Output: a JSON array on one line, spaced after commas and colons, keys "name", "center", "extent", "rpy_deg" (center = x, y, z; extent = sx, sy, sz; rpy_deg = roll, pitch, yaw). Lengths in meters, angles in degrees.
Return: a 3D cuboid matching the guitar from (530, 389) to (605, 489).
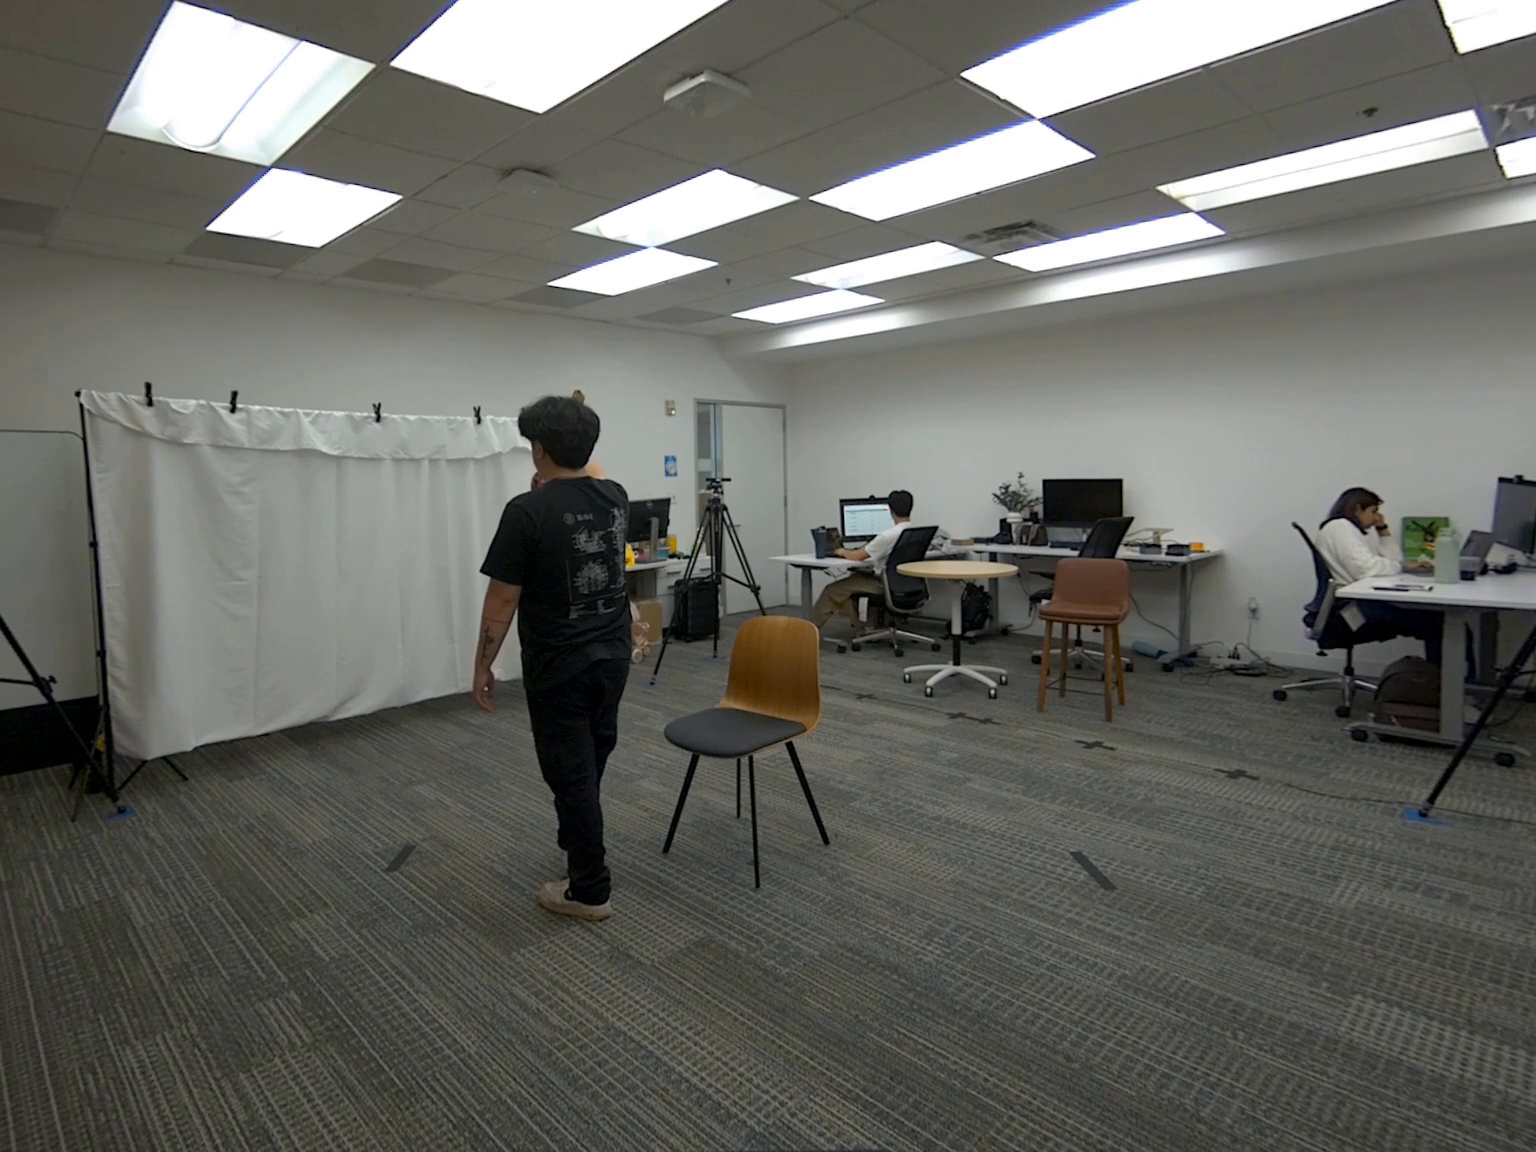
[{"name": "guitar", "center": [-0.771, -0.475, 3.327], "extent": [0.198, 0.495, 0.069], "rpy_deg": [43, 28, 20]}]
